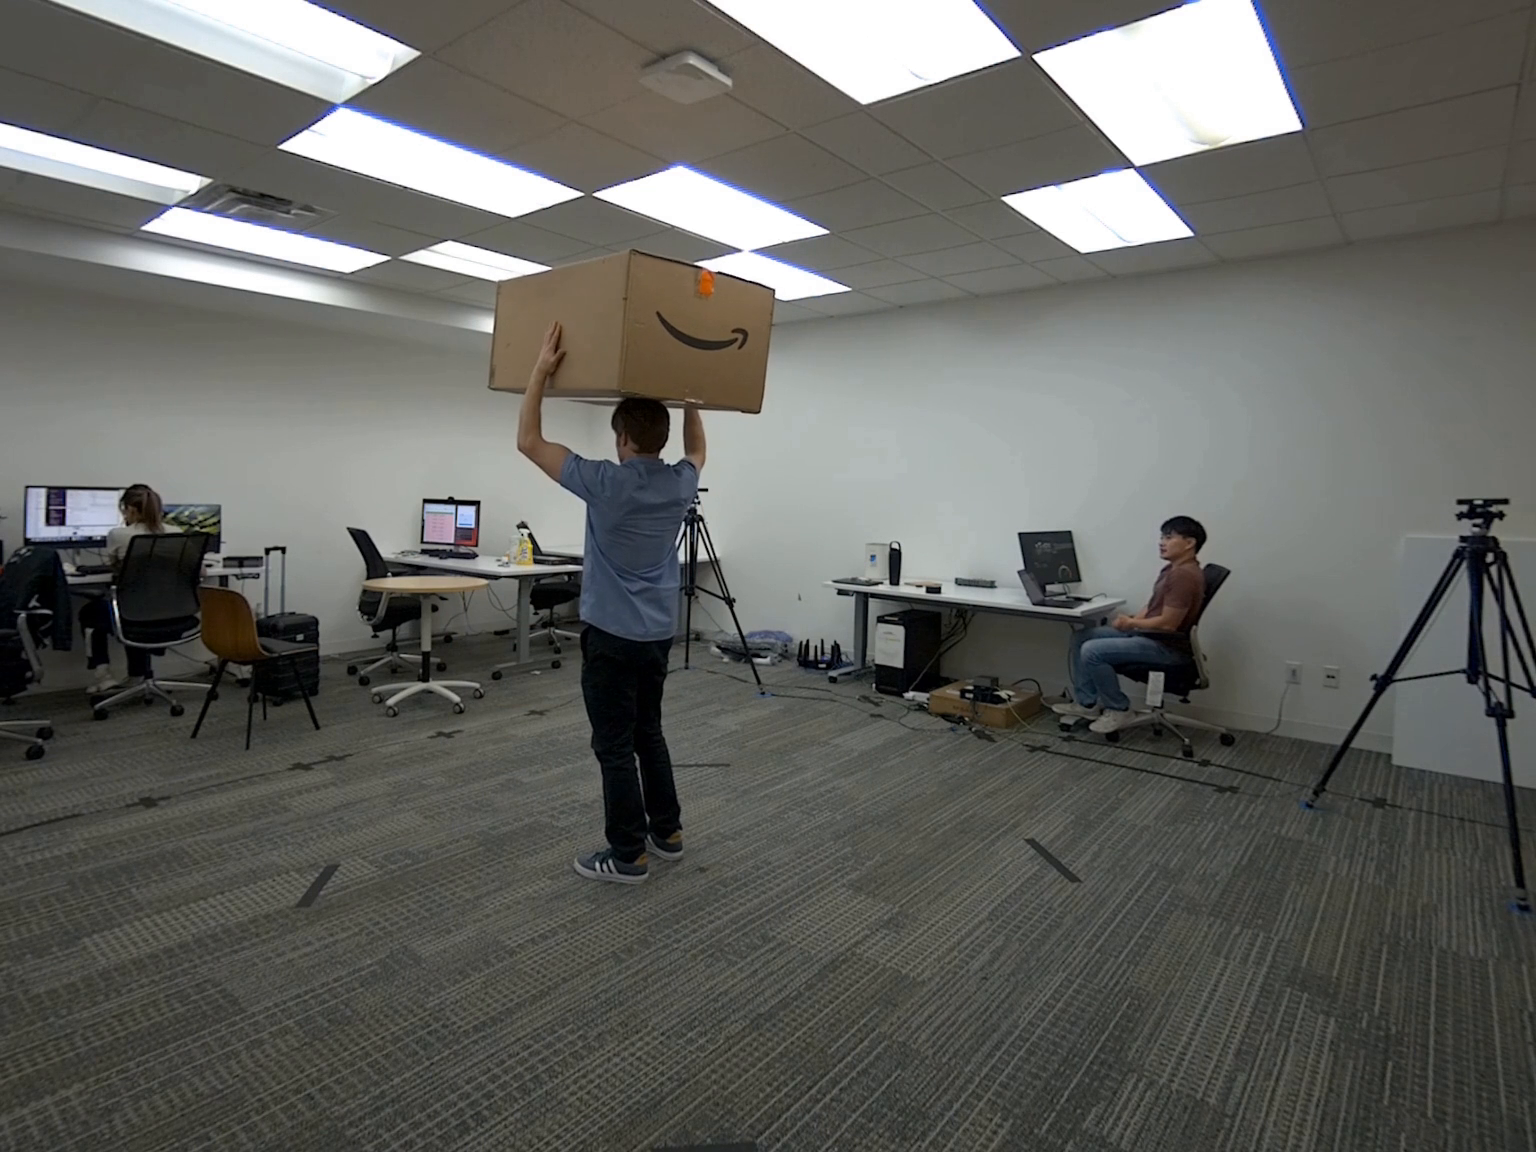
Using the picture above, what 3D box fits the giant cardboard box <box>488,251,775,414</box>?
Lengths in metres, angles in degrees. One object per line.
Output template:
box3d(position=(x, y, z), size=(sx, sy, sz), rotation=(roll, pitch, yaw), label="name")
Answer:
box3d(position=(-0.550, -0.856, 3.110), size=(0.559, 0.424, 1.064), rotation=(1, 9, -40), label="giant cardboard box")
